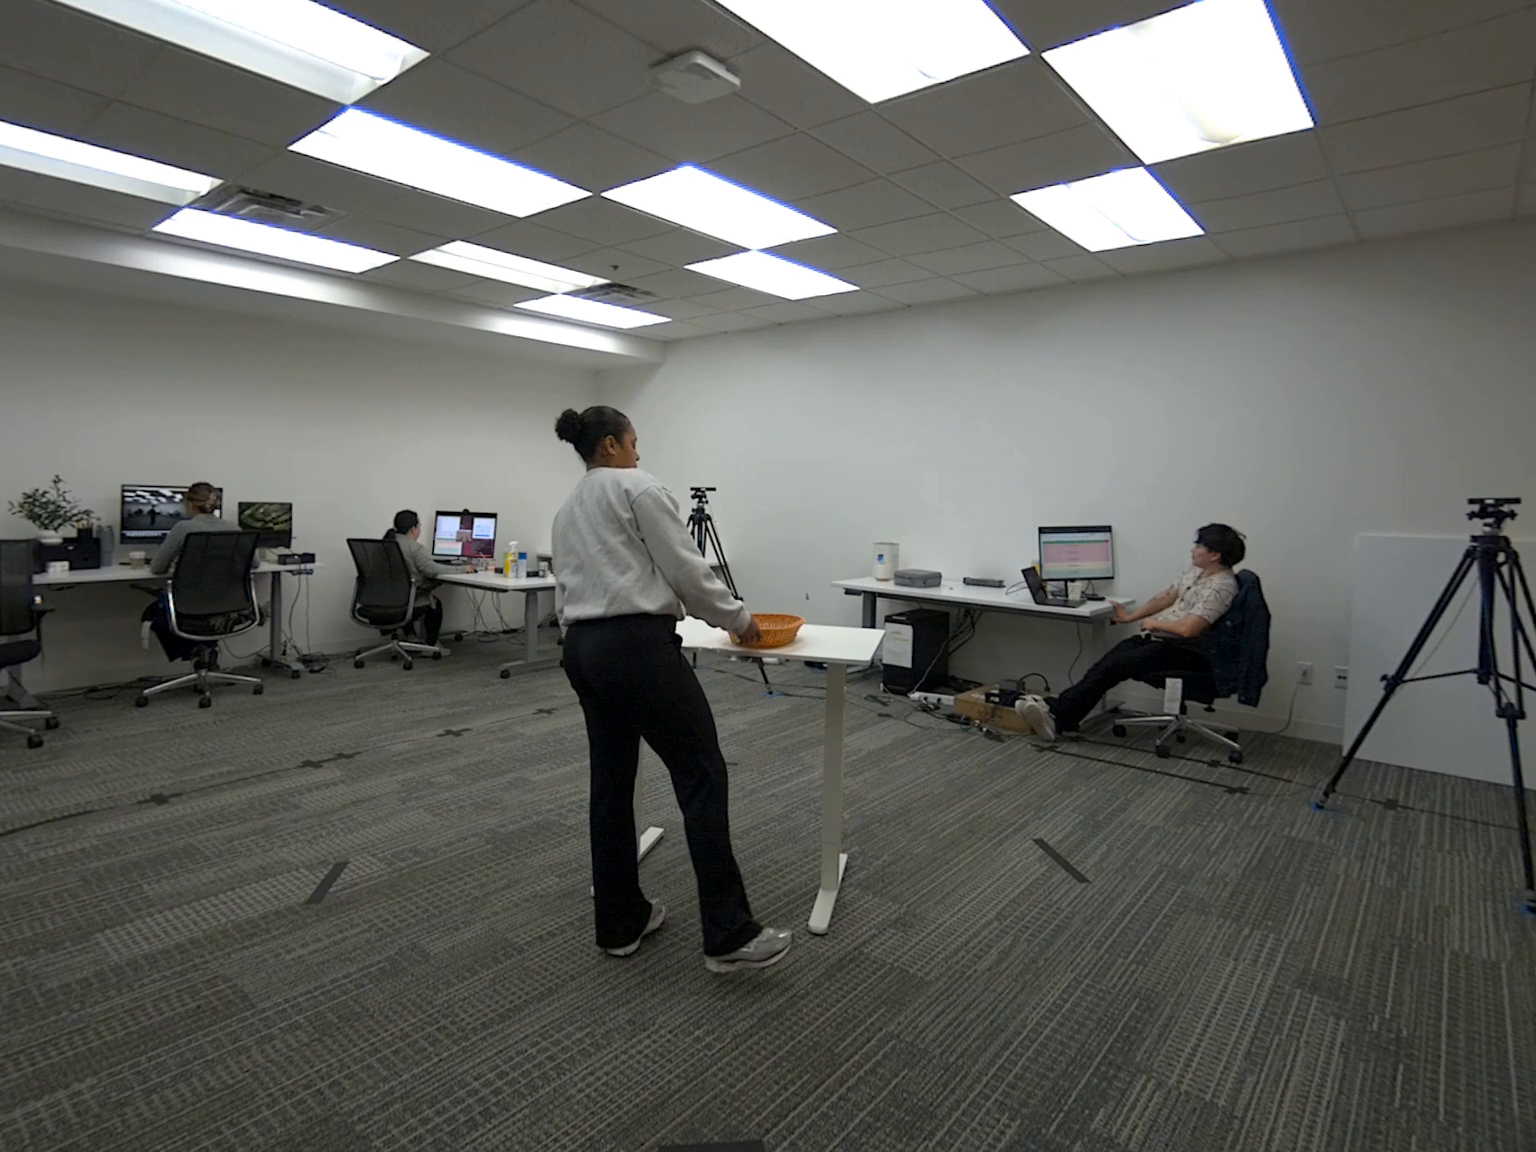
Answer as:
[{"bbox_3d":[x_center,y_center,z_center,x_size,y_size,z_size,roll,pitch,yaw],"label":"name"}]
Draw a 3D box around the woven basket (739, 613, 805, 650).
[{"bbox_3d":[-0.009,0.184,2.851,0.259,0.073,0.342,5,6,25],"label":"woven basket"}]
